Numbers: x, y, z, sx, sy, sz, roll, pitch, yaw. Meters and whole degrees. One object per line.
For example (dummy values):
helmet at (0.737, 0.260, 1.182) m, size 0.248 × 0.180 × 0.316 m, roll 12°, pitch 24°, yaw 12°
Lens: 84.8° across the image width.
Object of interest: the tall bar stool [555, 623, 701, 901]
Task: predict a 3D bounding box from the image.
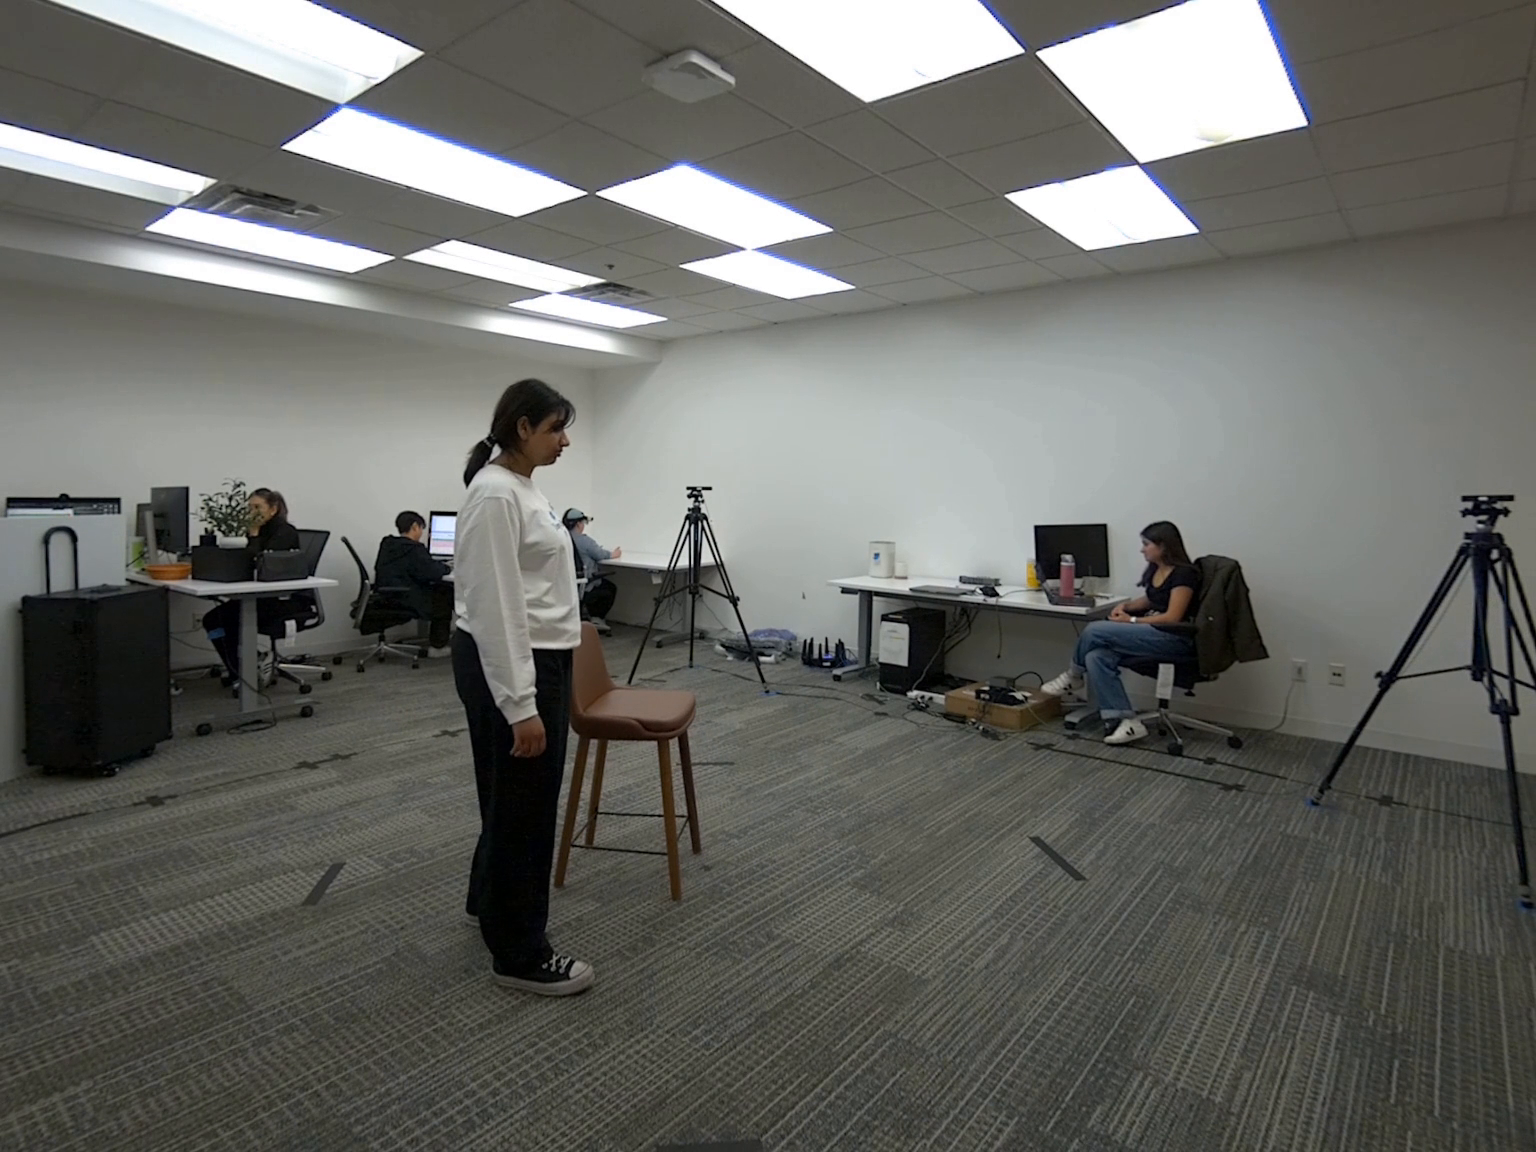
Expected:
tall bar stool at (-0.501, 0.633, 3.065) m, size 0.472 × 0.887 × 0.453 m, roll 0°, pitch 3°, yaw 8°
